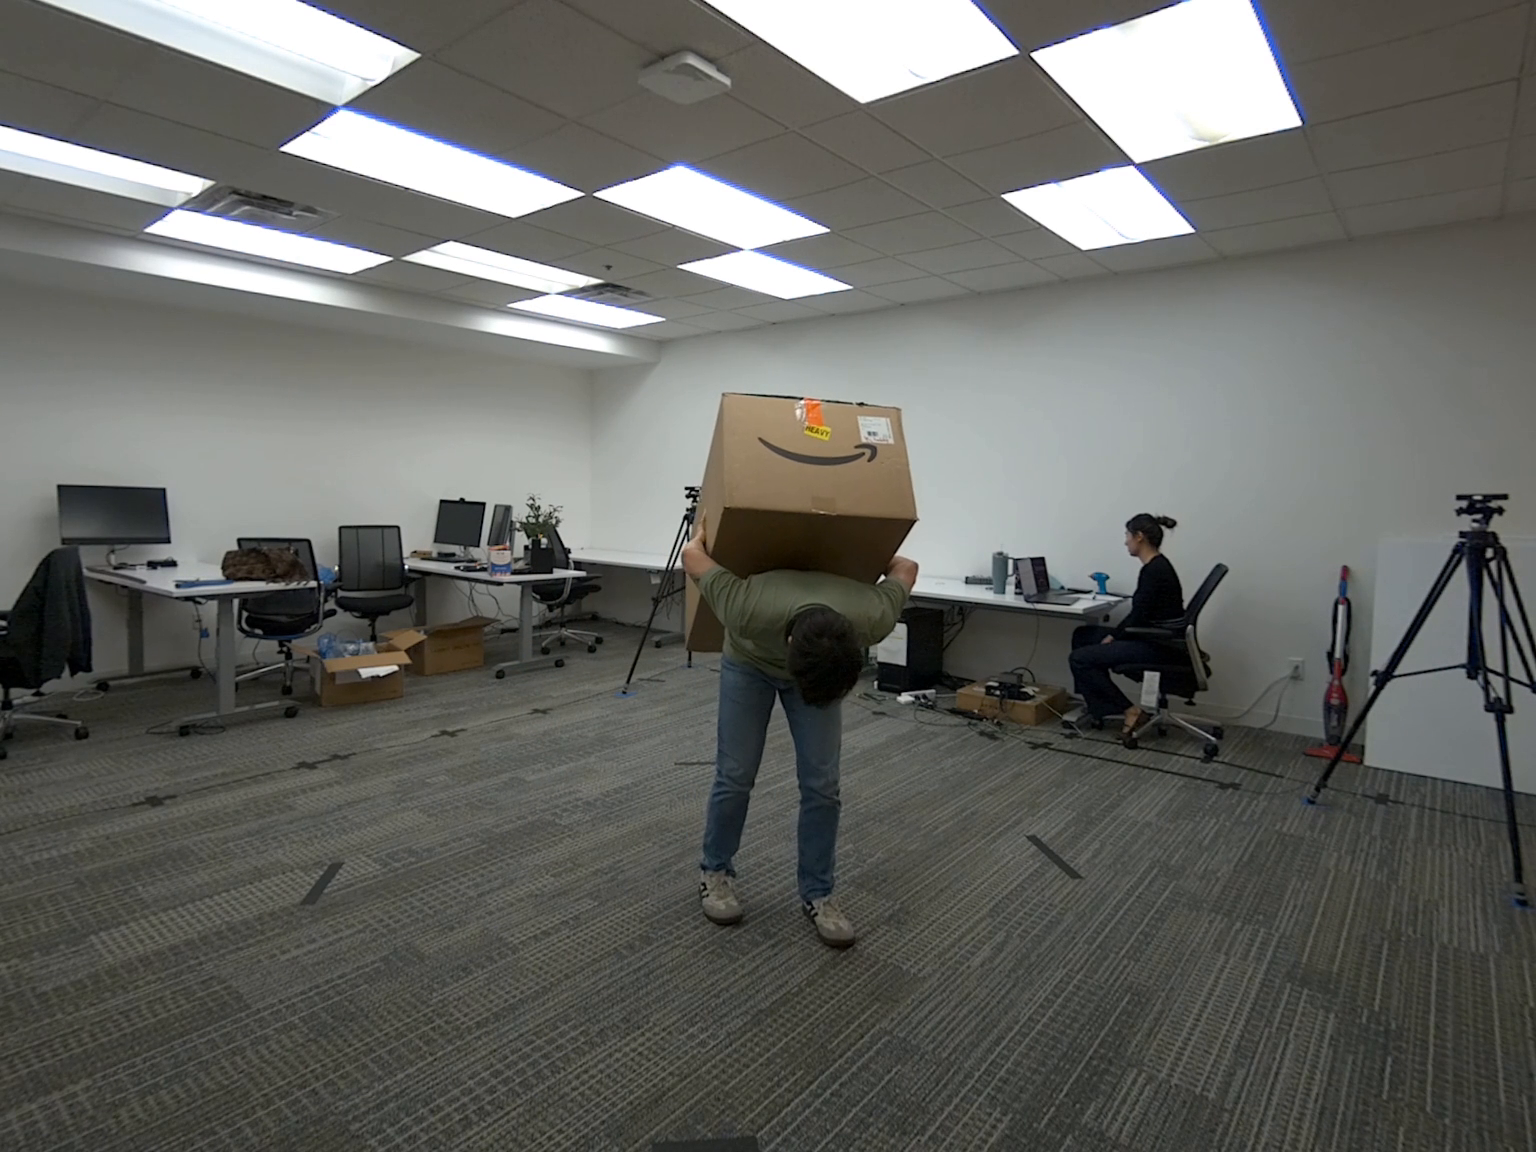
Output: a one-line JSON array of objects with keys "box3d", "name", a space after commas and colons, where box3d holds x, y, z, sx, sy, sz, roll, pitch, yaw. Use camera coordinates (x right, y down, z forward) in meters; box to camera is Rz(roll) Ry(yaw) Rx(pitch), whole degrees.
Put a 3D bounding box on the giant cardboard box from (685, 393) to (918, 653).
[{"box3d": [0.035, -0.127, 2.960, 0.572, 0.437, 1.009, 5, -30, -9], "name": "giant cardboard box"}]
